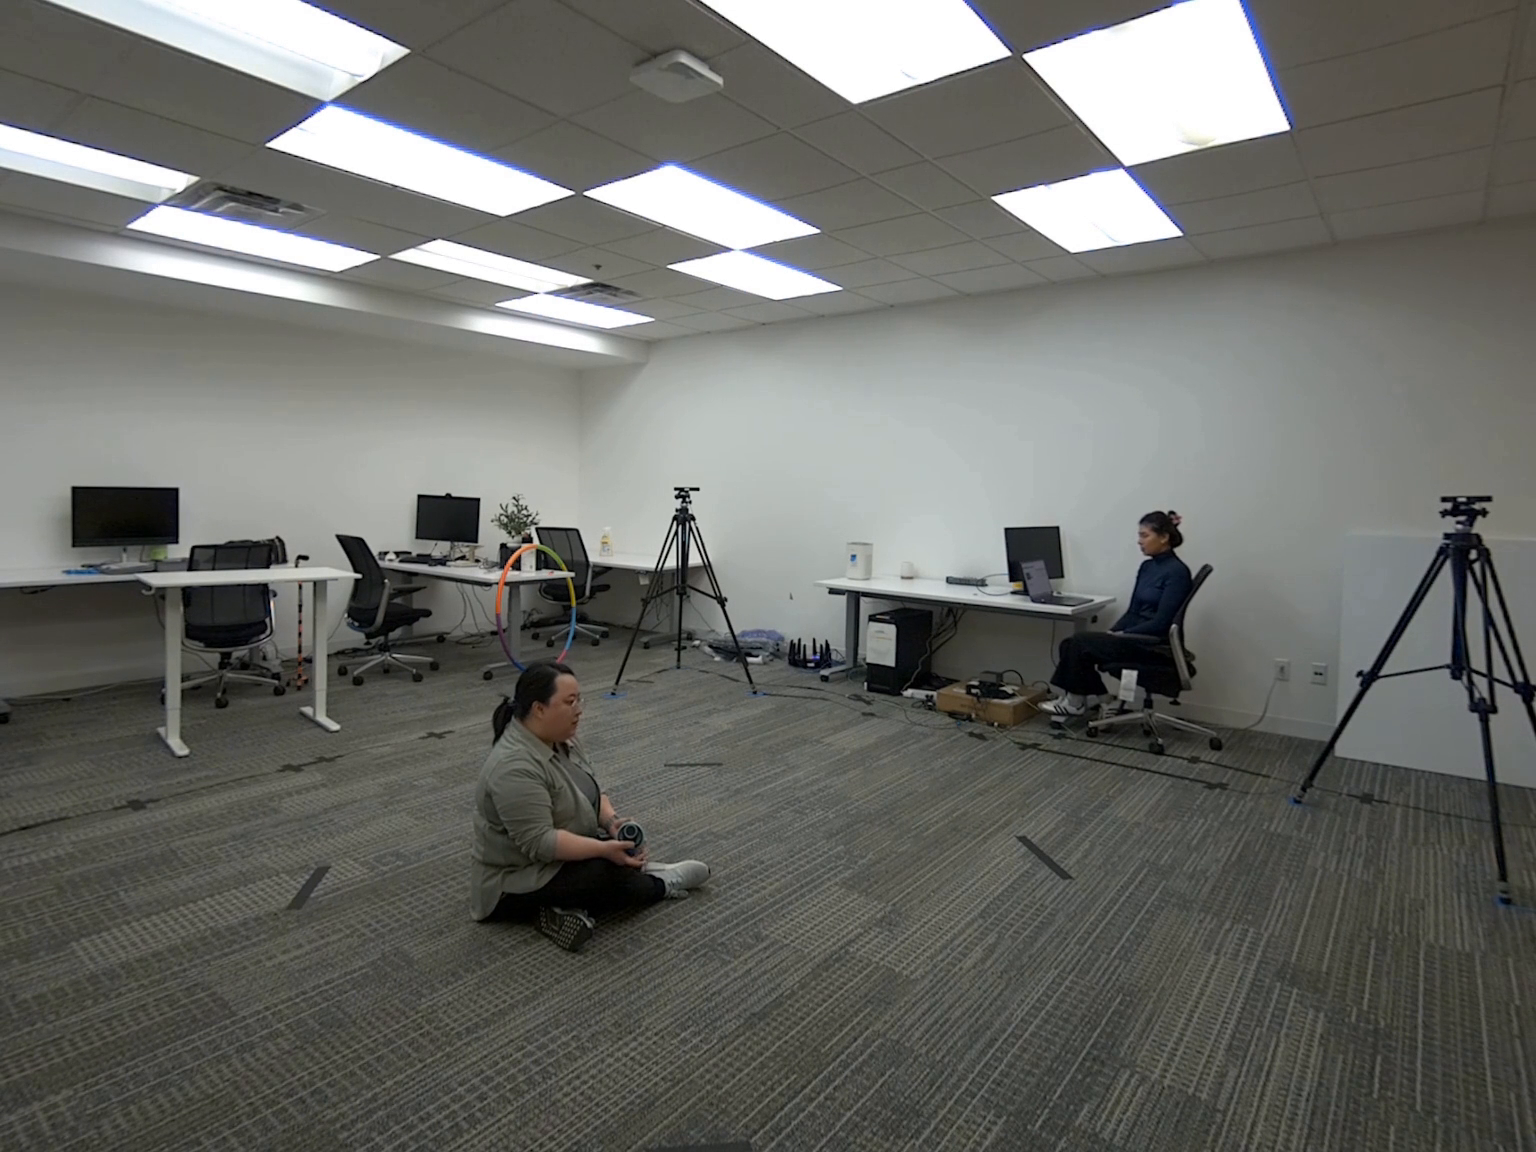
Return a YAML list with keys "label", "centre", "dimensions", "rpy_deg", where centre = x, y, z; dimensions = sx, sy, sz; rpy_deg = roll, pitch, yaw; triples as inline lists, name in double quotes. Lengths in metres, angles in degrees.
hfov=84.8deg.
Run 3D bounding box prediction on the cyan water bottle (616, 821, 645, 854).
- label: "cyan water bottle"
  centre: [-0.453, 0.851, 2.738]
  dimensions: [0.092, 0.094, 0.279]
  rpy_deg: [1, -20, -7]
